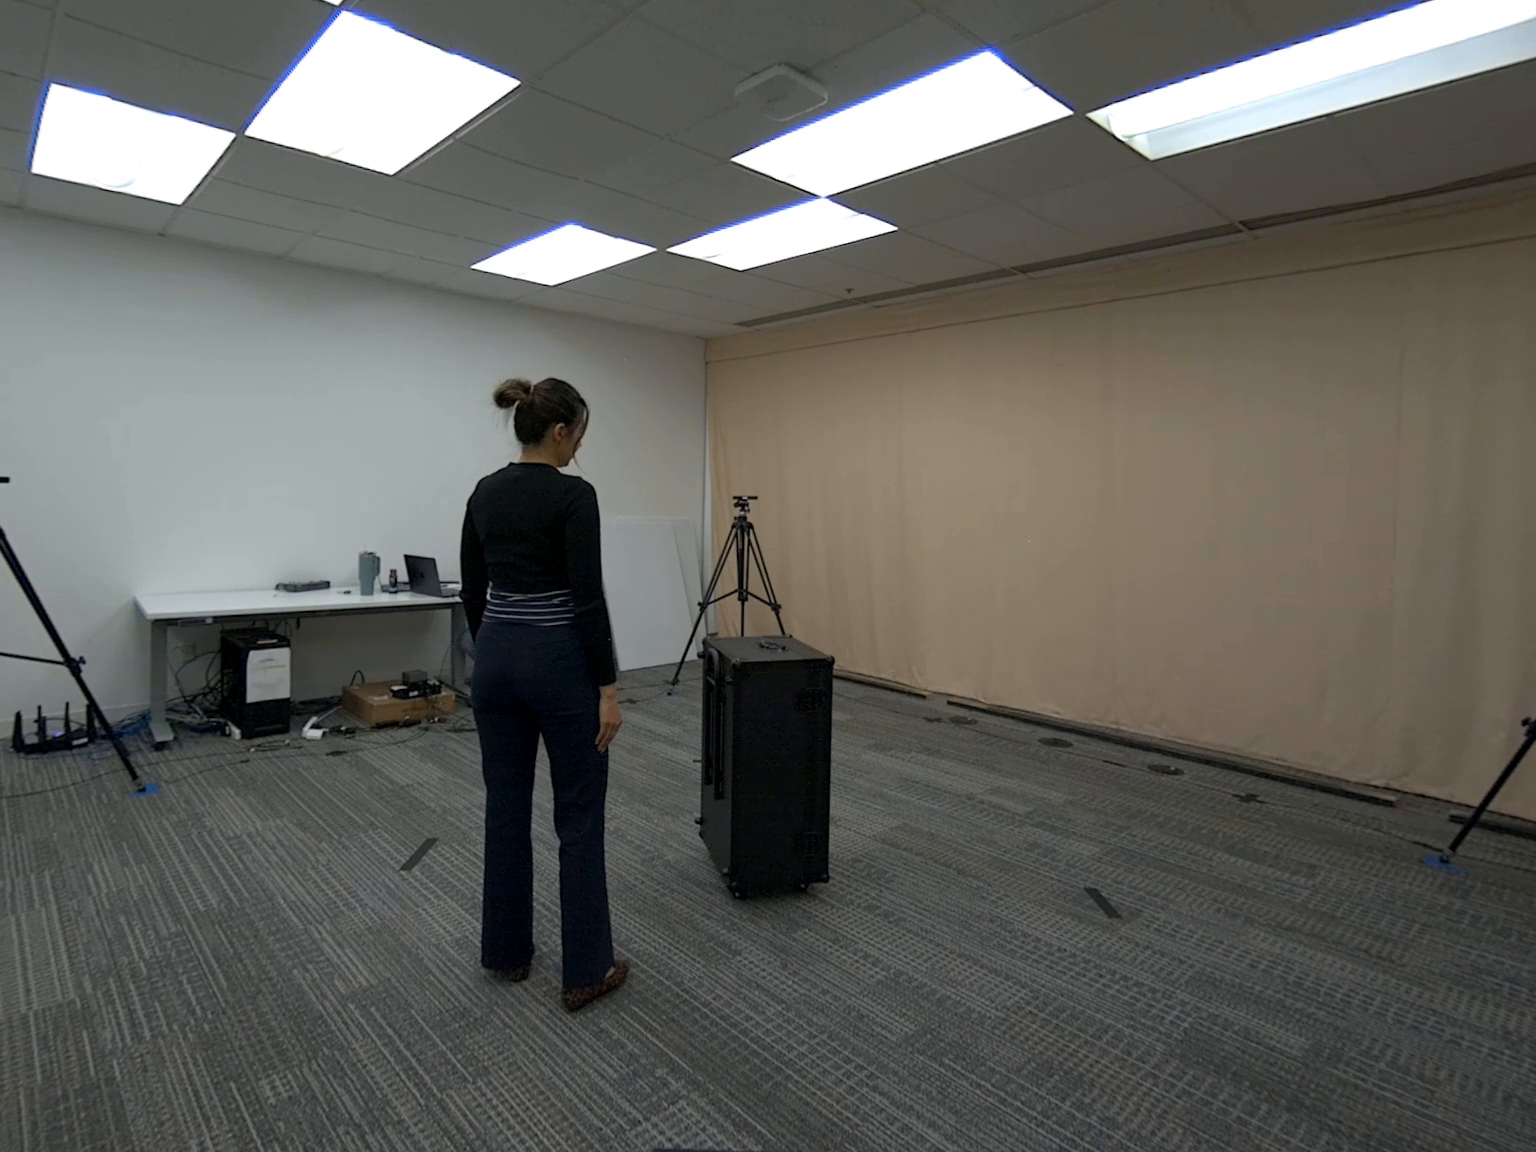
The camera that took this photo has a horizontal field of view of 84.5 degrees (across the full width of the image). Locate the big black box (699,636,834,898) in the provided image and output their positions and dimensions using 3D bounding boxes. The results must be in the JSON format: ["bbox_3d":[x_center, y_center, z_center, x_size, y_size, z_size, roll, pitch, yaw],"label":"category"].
[{"bbox_3d":[-0.034,0.622,3.069,0.391,0.859,0.529,1,4,-17],"label":"big black box"}]
